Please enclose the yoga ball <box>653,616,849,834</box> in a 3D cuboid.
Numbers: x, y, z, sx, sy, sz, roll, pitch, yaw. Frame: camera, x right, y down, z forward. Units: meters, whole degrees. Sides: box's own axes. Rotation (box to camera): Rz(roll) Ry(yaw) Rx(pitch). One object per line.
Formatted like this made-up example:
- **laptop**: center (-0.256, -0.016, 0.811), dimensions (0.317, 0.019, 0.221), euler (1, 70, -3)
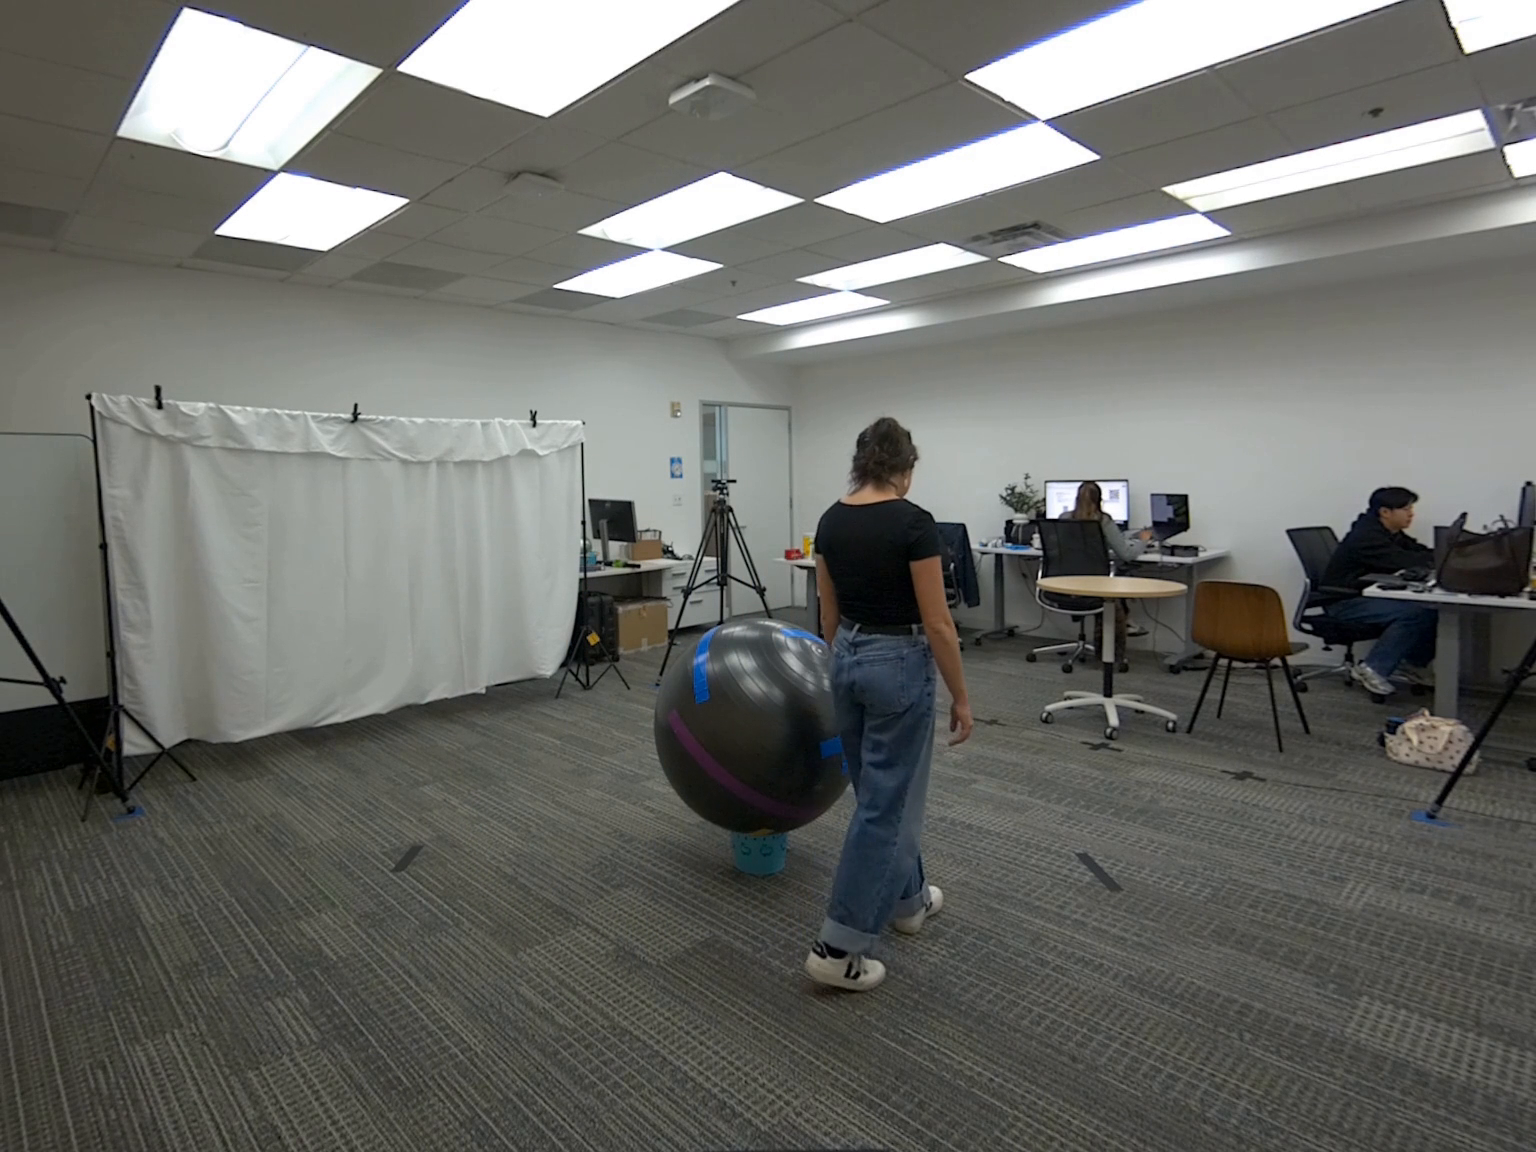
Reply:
- **yoga ball**: center (-0.036, 0.535, 3.084), dimensions (0.757, 0.755, 0.762), euler (-1, 5, -2)
